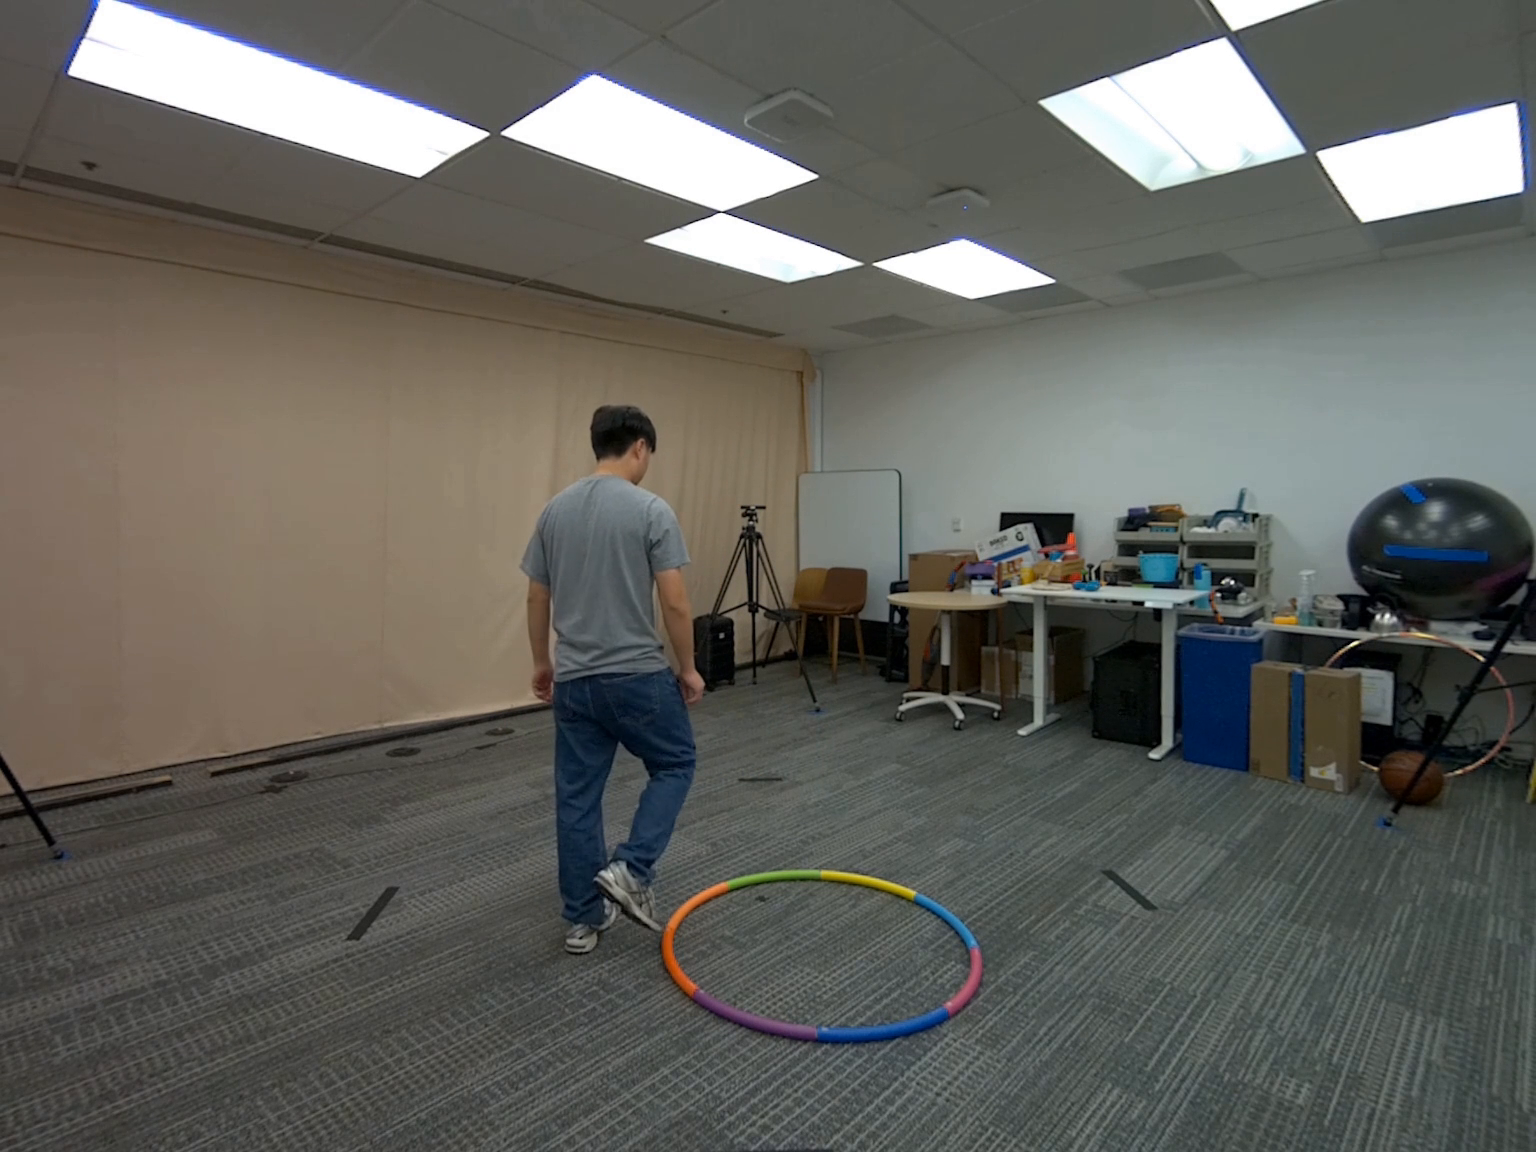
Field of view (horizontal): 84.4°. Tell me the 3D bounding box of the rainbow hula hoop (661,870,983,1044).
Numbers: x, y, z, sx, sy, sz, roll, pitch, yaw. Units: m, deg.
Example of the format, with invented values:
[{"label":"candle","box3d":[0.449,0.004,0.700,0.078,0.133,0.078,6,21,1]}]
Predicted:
[{"label":"rainbow hula hoop","box3d":[0.161,1.139,2.669,0.978,0.035,0.982,0,5,-2]}]
